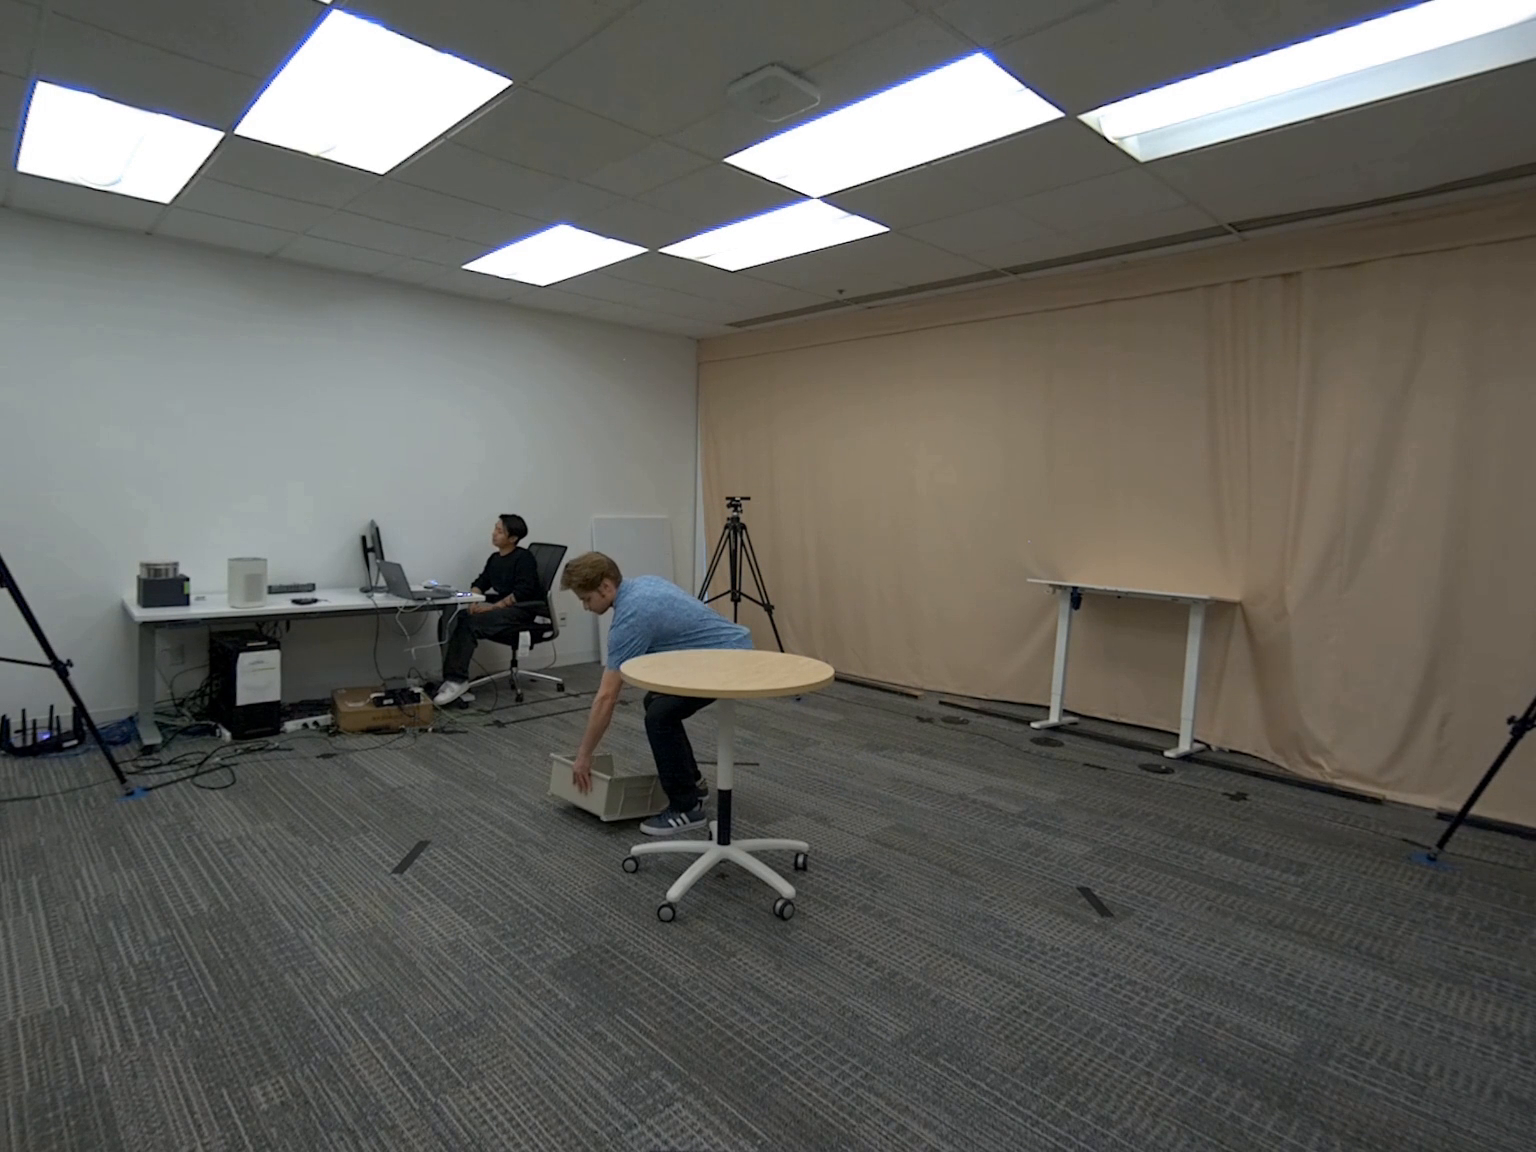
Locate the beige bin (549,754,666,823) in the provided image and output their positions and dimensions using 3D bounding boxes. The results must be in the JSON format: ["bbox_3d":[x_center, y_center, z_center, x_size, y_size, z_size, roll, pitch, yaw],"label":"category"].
[{"bbox_3d":[-0.702,0.909,3.689,0.433,0.189,0.367,6,-1,42],"label":"beige bin"}]
